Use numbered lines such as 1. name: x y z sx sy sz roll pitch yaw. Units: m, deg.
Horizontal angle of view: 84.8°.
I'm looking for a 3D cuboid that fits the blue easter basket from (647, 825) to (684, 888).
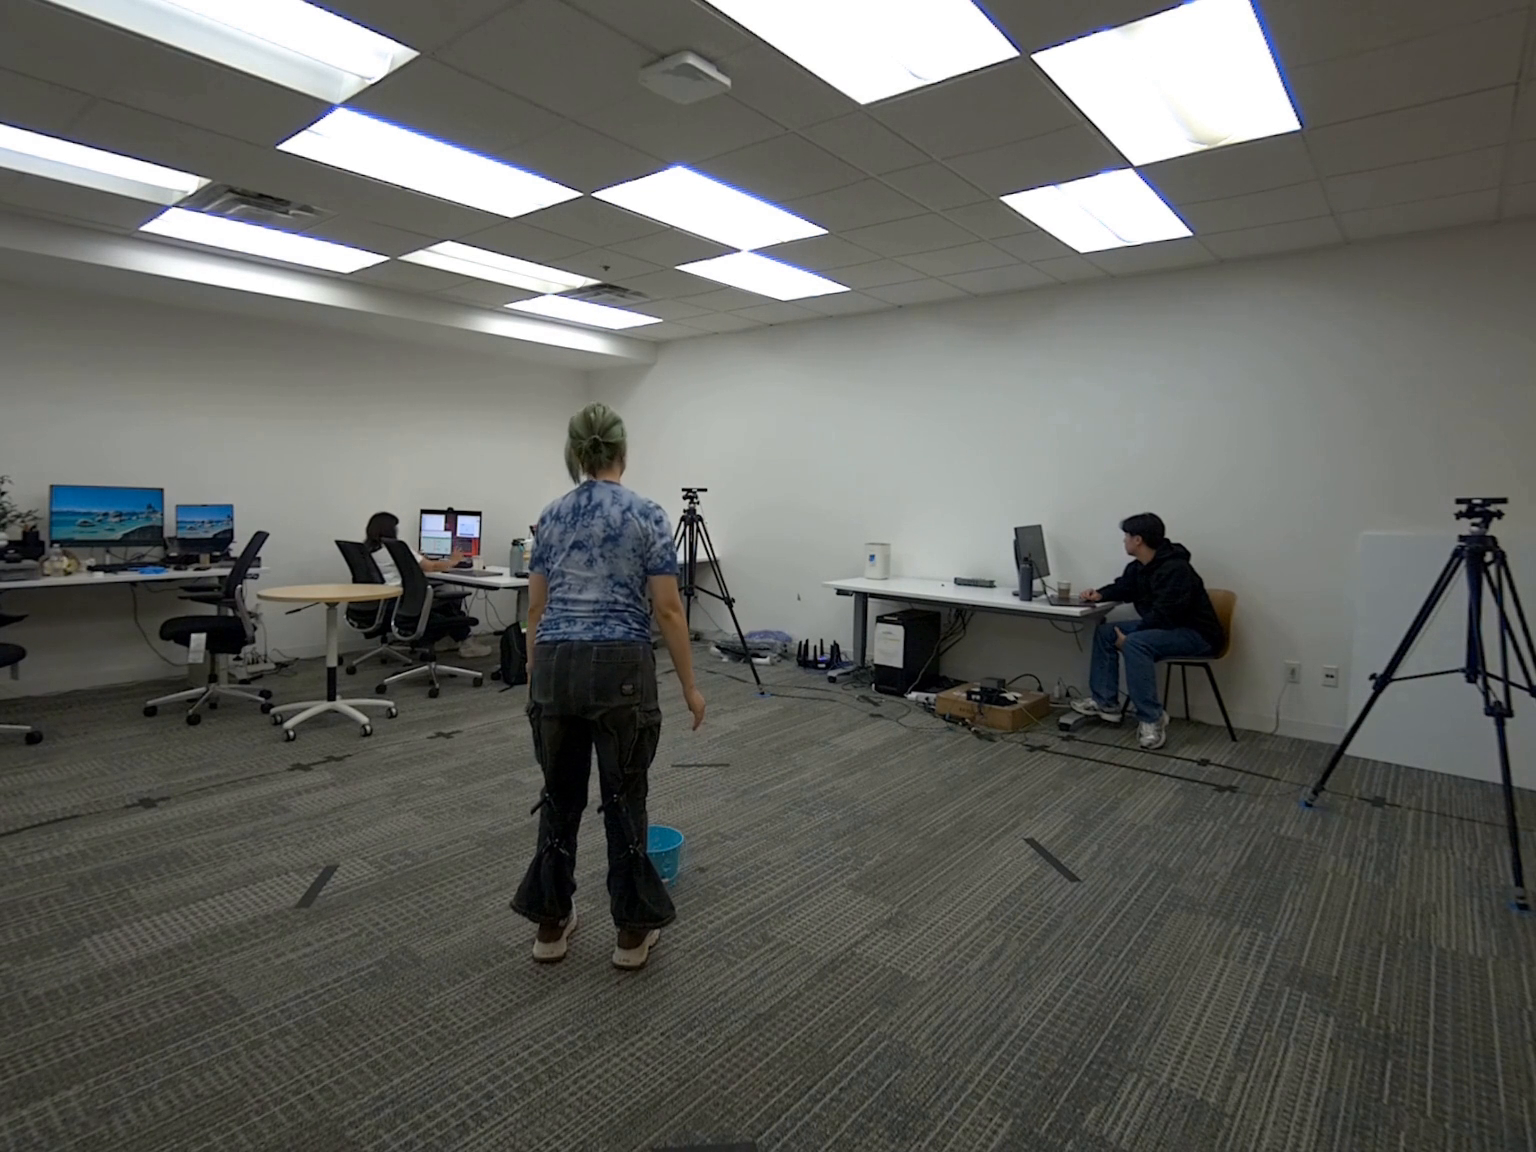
1. blue easter basket: -0.424 0.993 3.005 0.243 0.155 0.245 3 7 -2
